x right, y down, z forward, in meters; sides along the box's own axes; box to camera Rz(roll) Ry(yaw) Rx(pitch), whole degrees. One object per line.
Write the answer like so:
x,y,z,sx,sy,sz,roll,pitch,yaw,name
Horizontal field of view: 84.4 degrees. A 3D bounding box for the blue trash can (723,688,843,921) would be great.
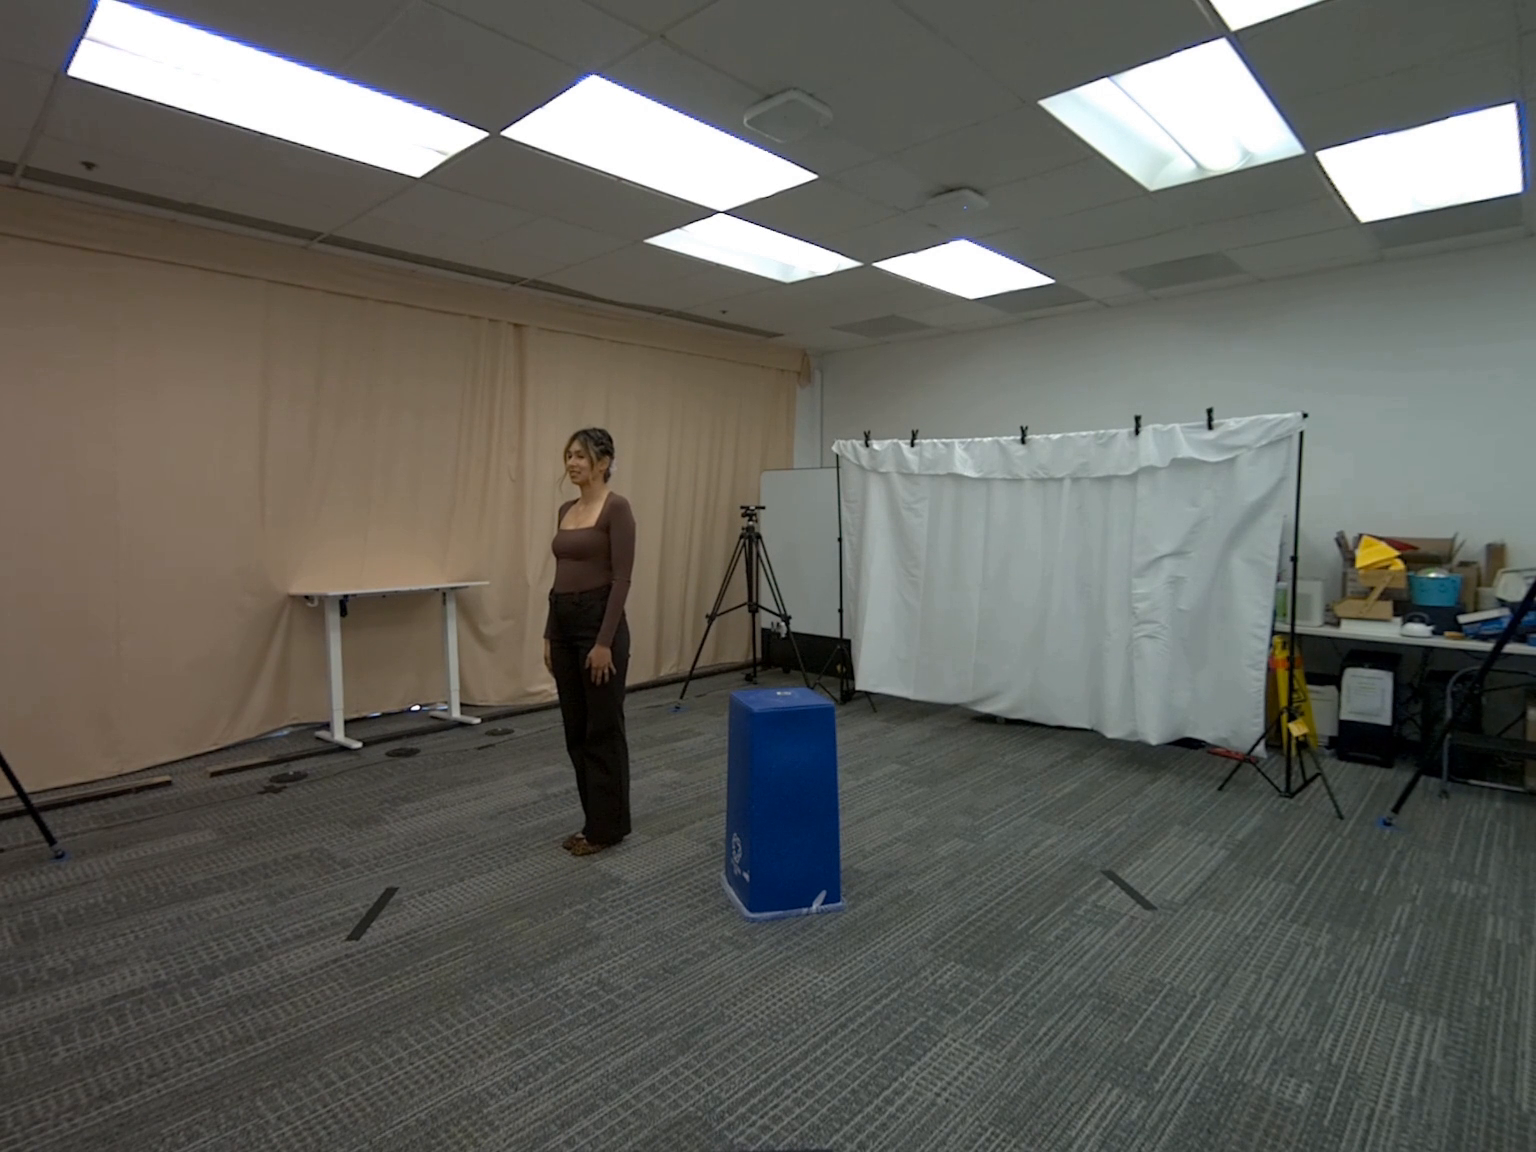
0.051,0.786,3.019,0.372,0.712,0.381,-1,2,-17,blue trash can
